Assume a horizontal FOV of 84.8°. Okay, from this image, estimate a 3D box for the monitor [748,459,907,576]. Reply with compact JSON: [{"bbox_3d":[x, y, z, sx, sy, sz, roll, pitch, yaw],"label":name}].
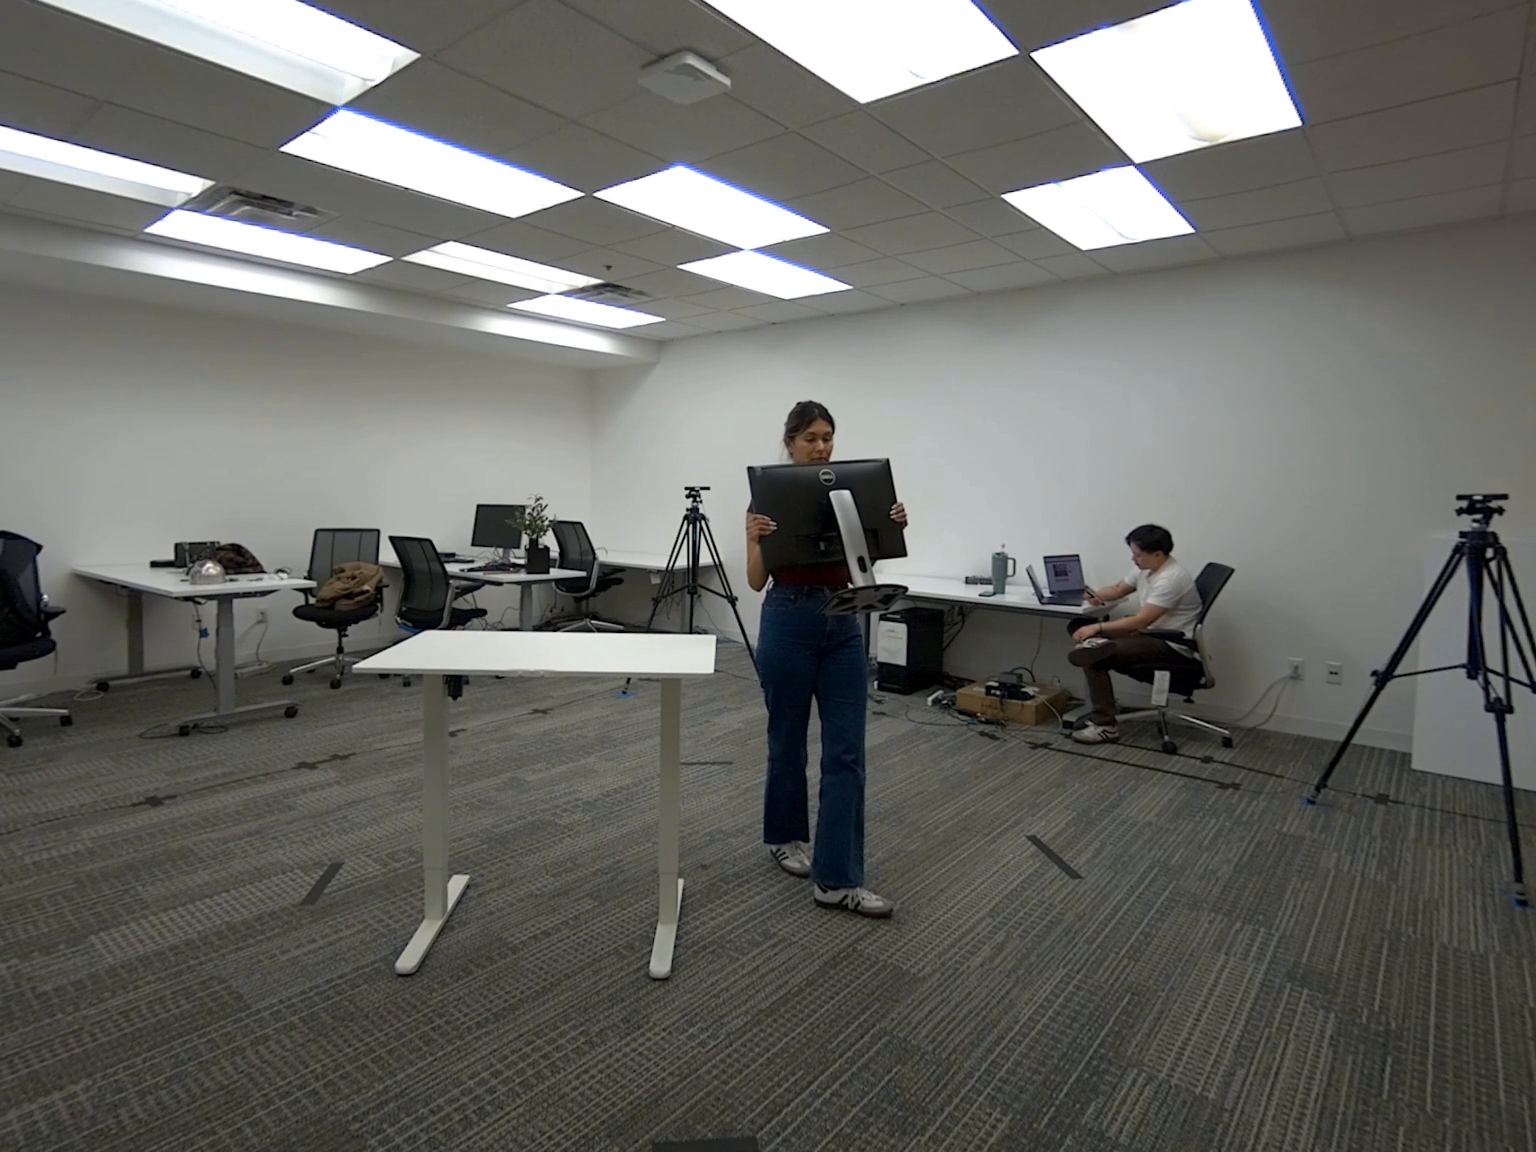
[{"bbox_3d":[0.232,-0.149,2.777,0.527,0.537,0.186,-4,-26,-24],"label":"monitor"}]
